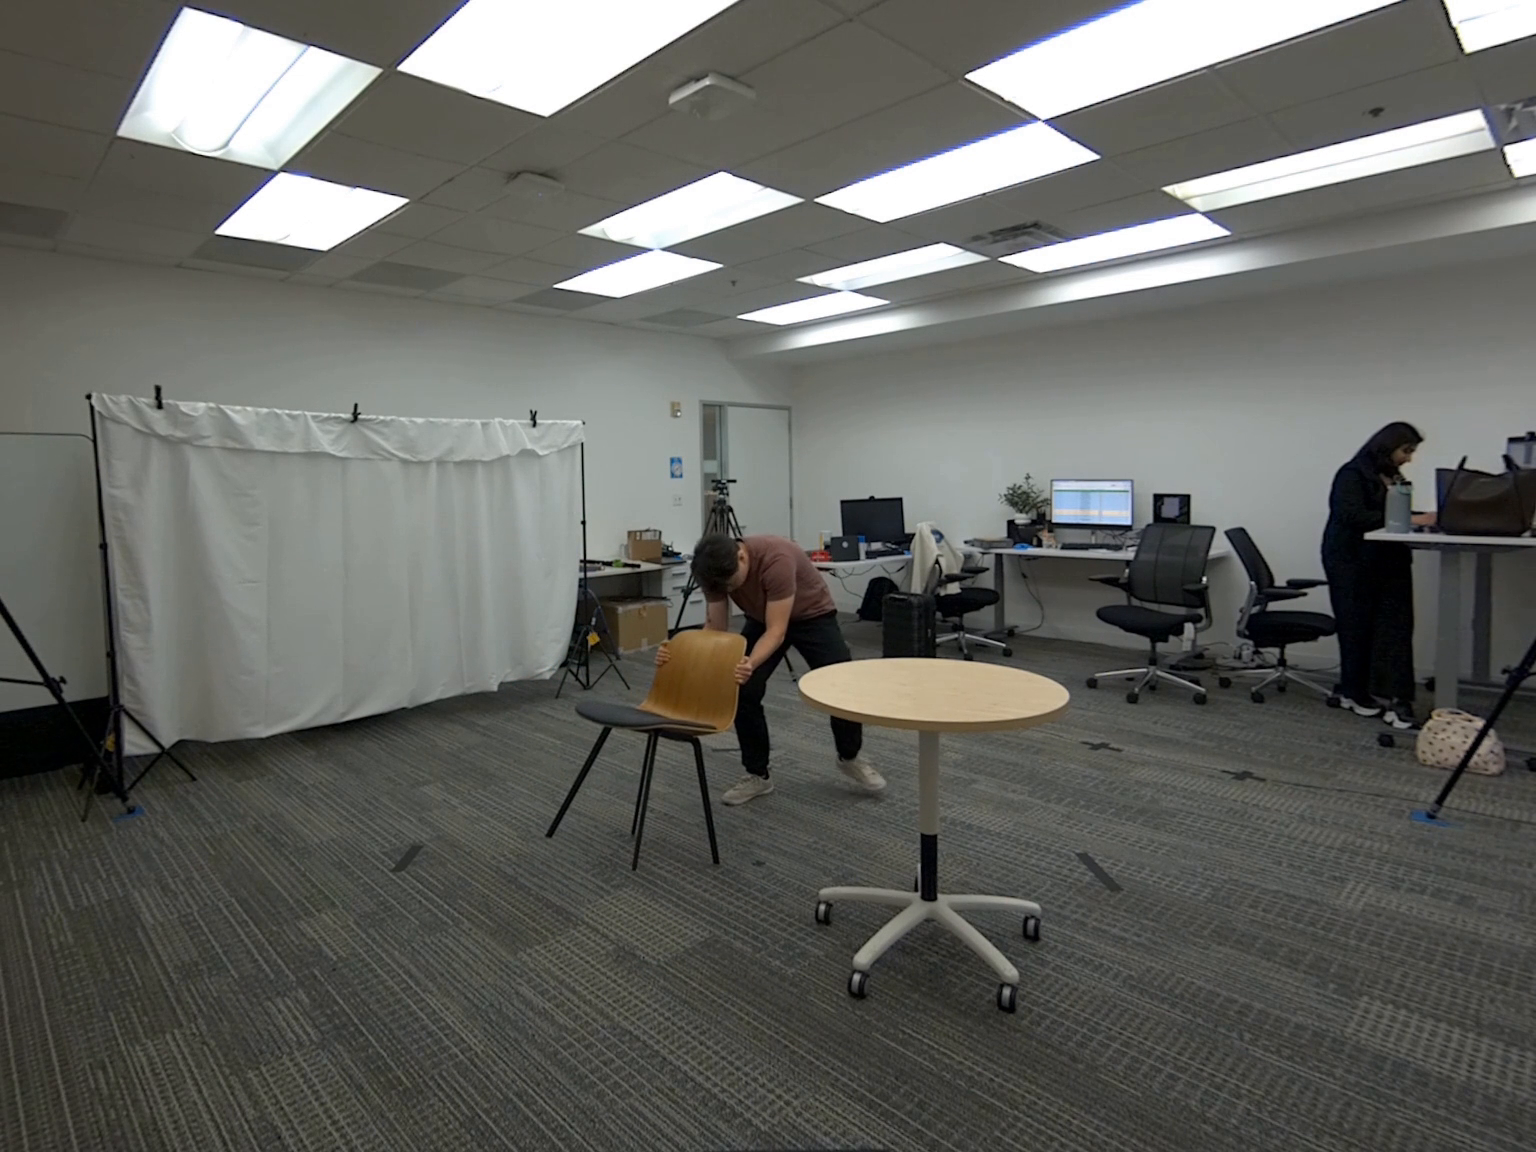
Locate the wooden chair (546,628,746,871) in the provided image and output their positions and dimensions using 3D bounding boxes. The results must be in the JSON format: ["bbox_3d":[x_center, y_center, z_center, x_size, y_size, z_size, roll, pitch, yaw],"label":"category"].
[{"bbox_3d":[-0.418,0.572,3.137,0.492,0.885,0.503,2,-16,39],"label":"wooden chair"}]
